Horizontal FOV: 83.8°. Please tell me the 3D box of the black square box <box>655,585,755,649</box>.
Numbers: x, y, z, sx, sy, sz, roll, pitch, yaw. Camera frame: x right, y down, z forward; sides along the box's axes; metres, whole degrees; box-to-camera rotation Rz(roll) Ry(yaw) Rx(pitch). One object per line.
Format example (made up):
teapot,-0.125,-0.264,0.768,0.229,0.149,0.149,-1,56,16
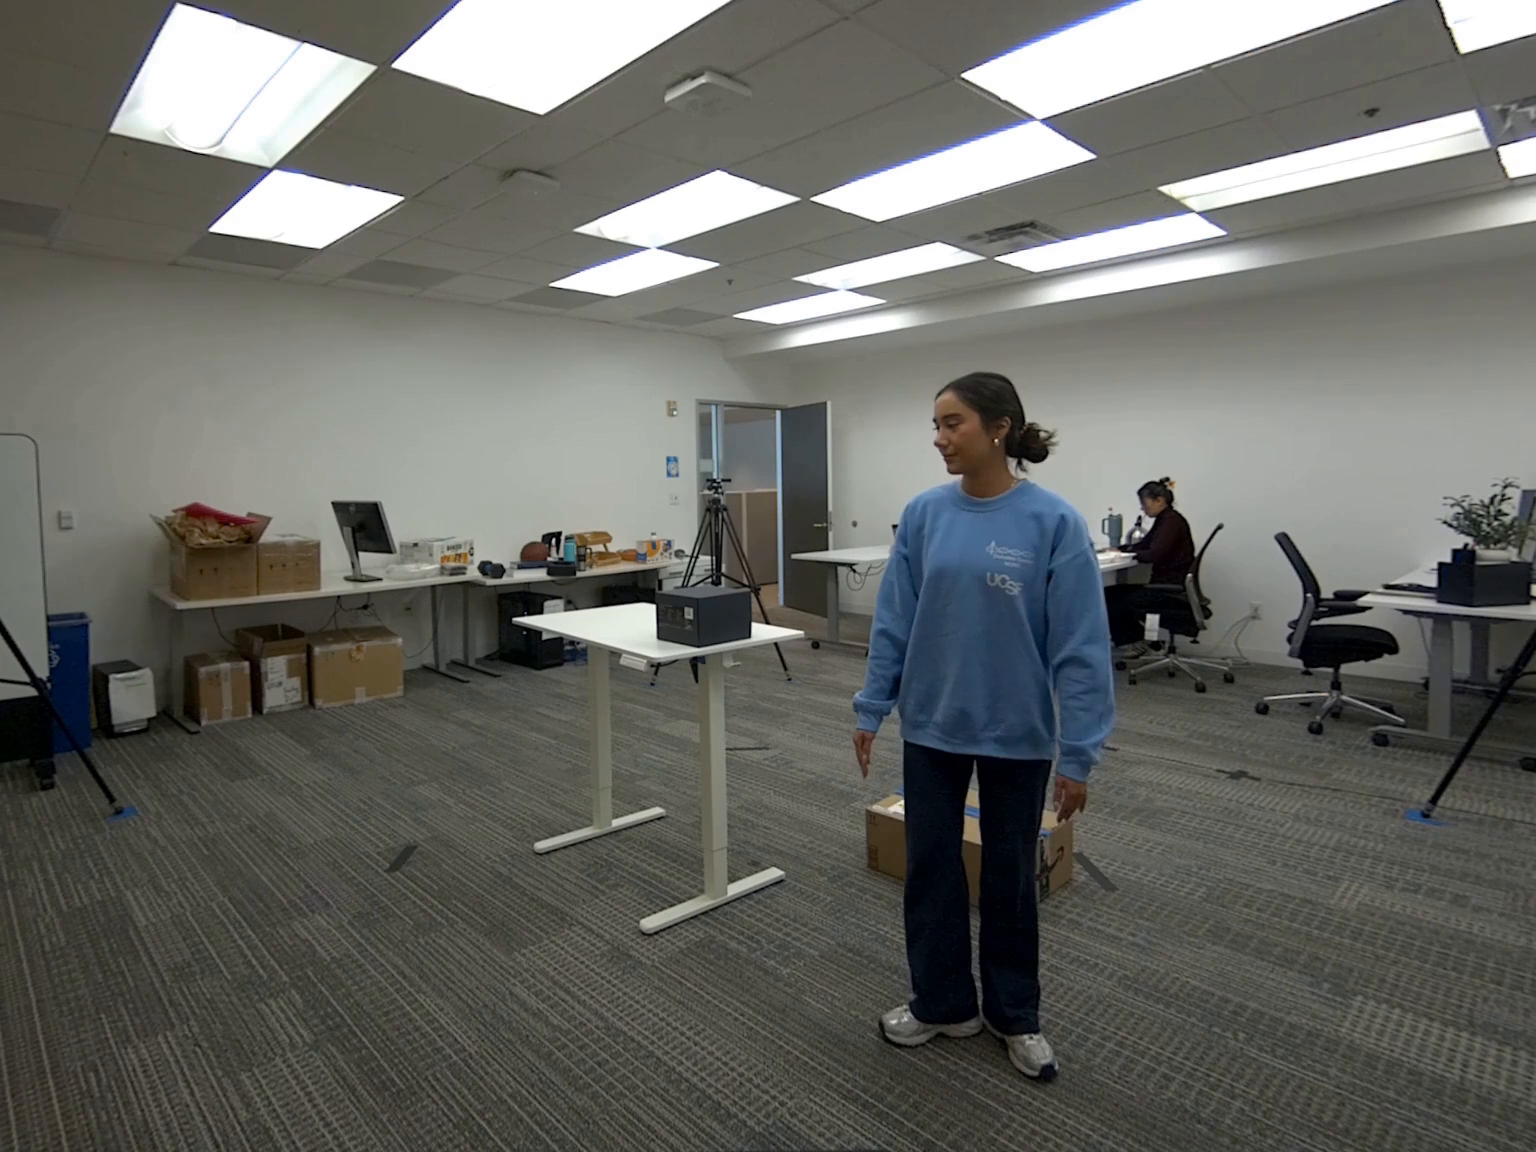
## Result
black square box,-0.203,0.125,2.755,0.222,0.155,0.223,-6,7,-44
